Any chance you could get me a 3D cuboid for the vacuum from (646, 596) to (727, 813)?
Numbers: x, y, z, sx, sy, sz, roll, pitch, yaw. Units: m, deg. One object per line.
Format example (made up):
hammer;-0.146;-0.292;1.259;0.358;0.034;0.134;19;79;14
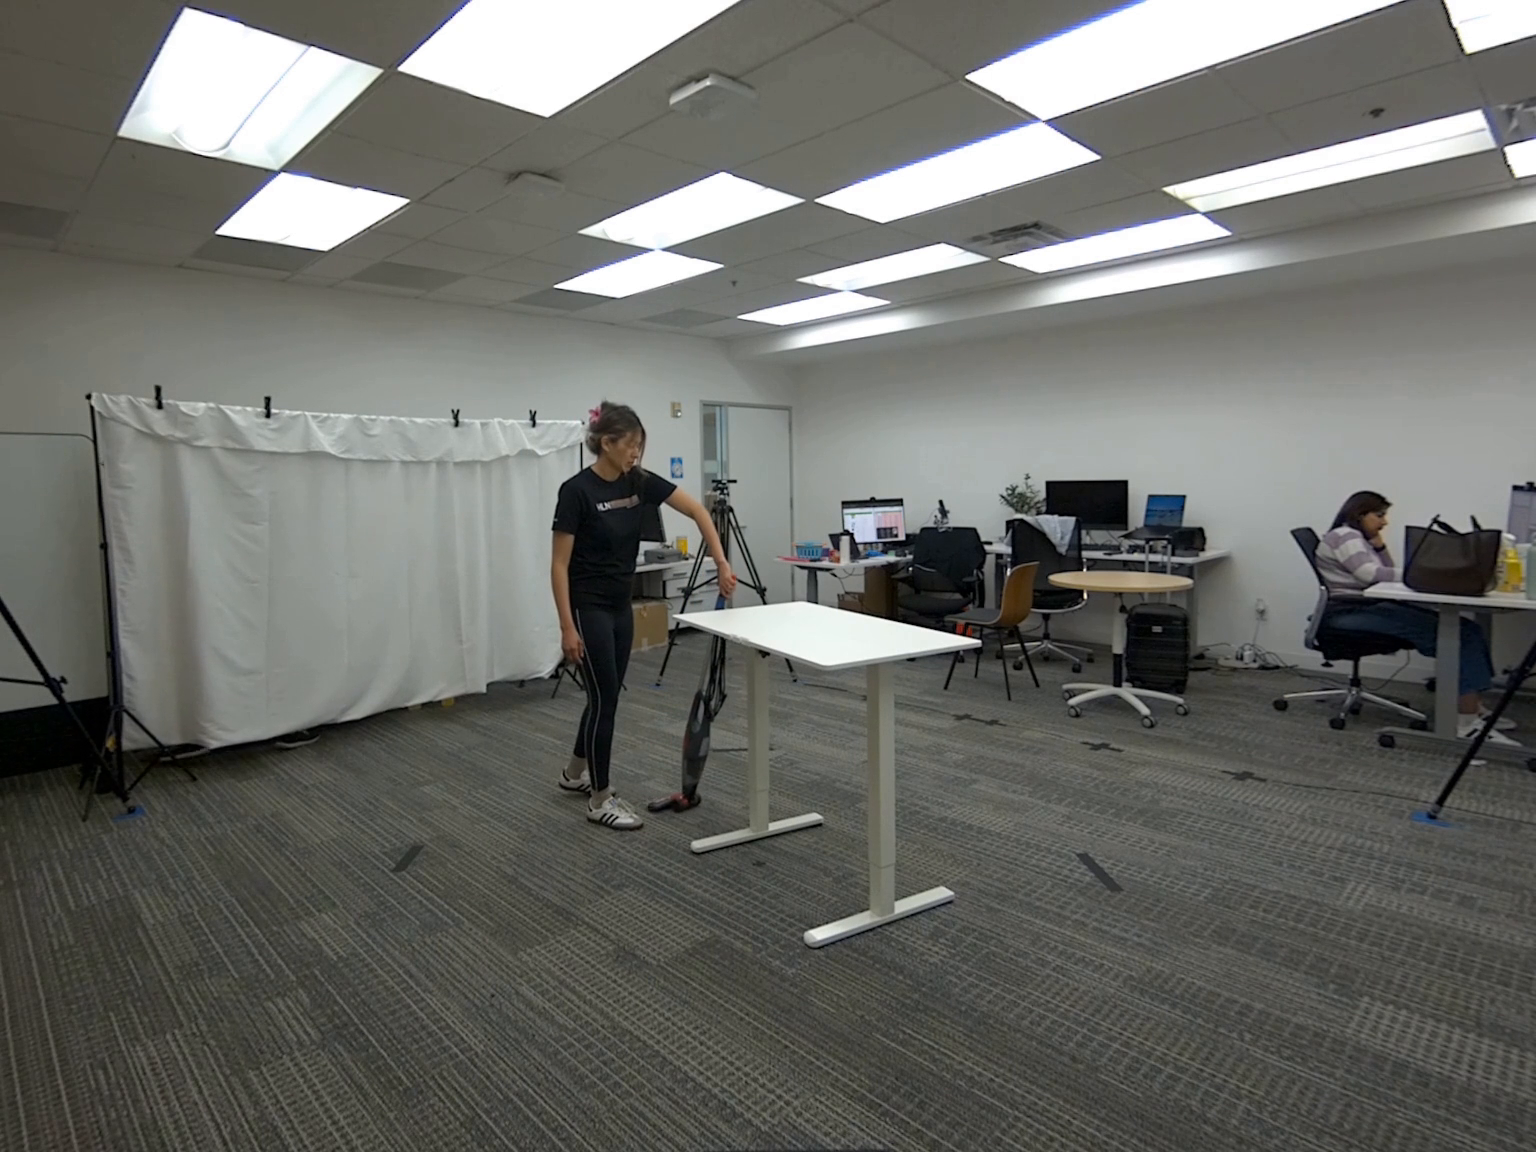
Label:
vacuum;-0.252;0.511;3.566;0.149;1.040;0.246;26;17;34
